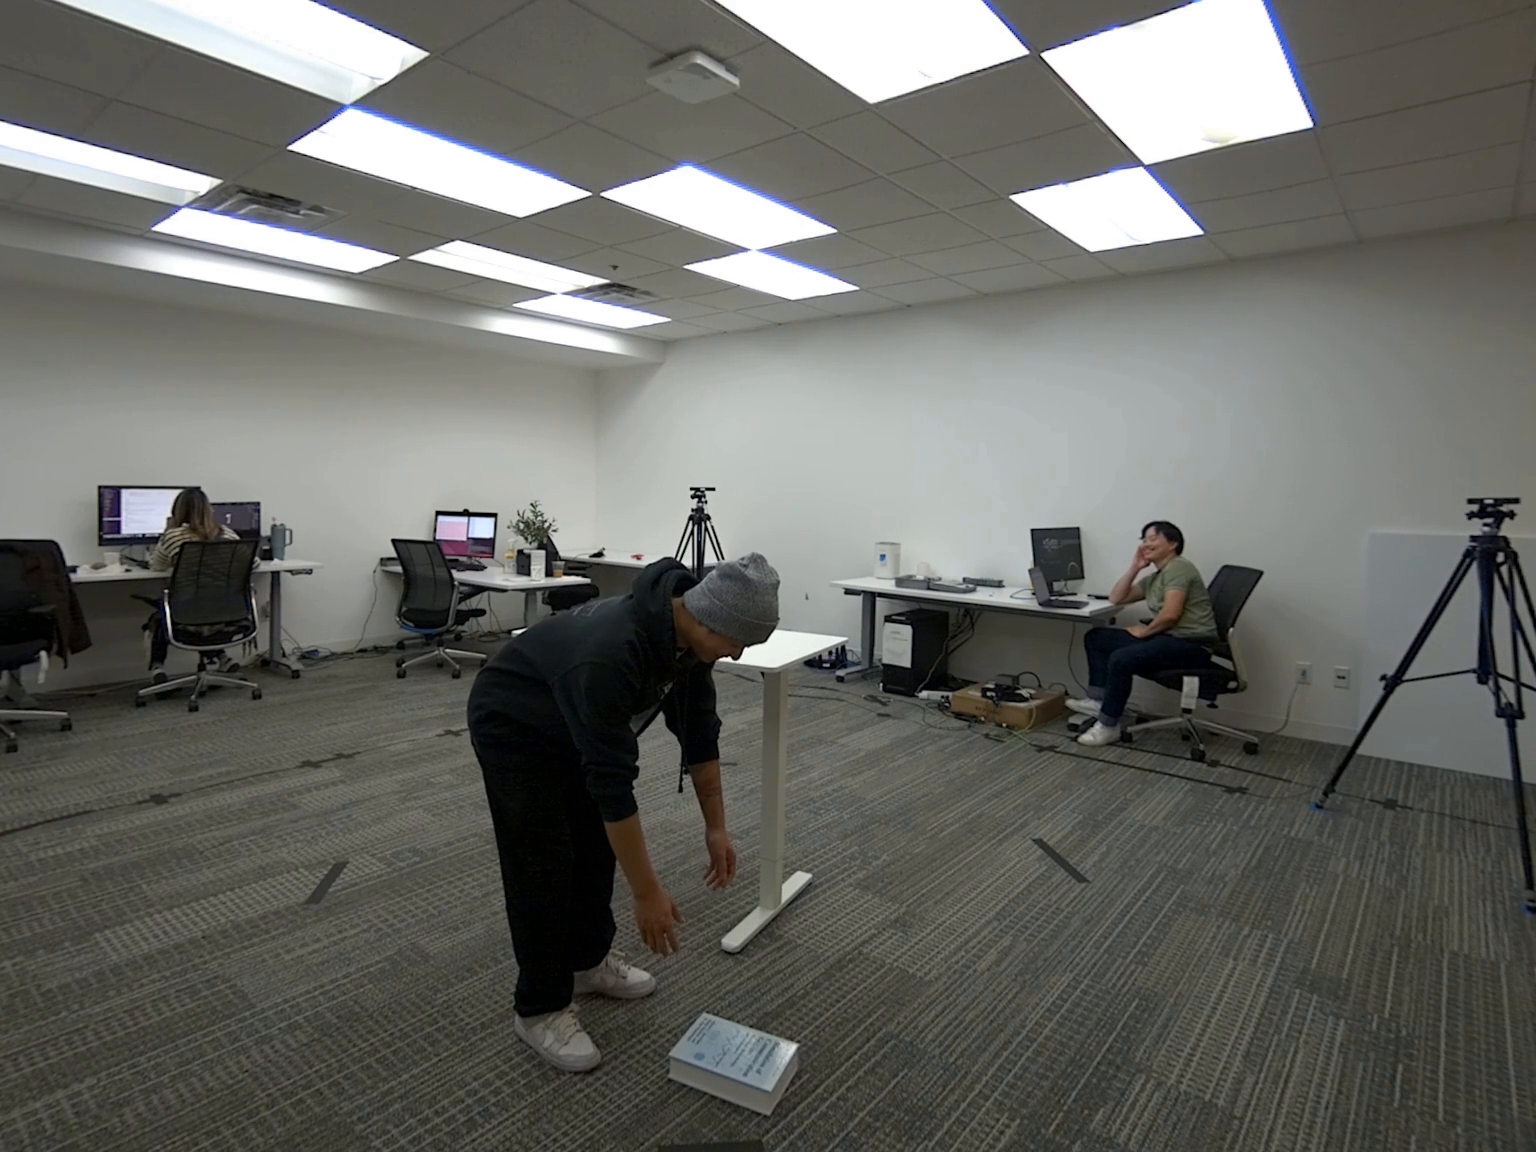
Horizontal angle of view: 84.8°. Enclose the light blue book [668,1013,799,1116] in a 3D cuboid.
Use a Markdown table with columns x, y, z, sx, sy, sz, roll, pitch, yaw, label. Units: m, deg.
| x | y | z | sx | sy | sz | roll | pitch | yaw | label |
| --- | --- | --- | --- | --- | --- | --- | --- | --- | --- |
| -0.086 | 1.155 | 2.018 | 0.268 | 0.059 | 0.187 | 4 | 7 | 25 | light blue book |
